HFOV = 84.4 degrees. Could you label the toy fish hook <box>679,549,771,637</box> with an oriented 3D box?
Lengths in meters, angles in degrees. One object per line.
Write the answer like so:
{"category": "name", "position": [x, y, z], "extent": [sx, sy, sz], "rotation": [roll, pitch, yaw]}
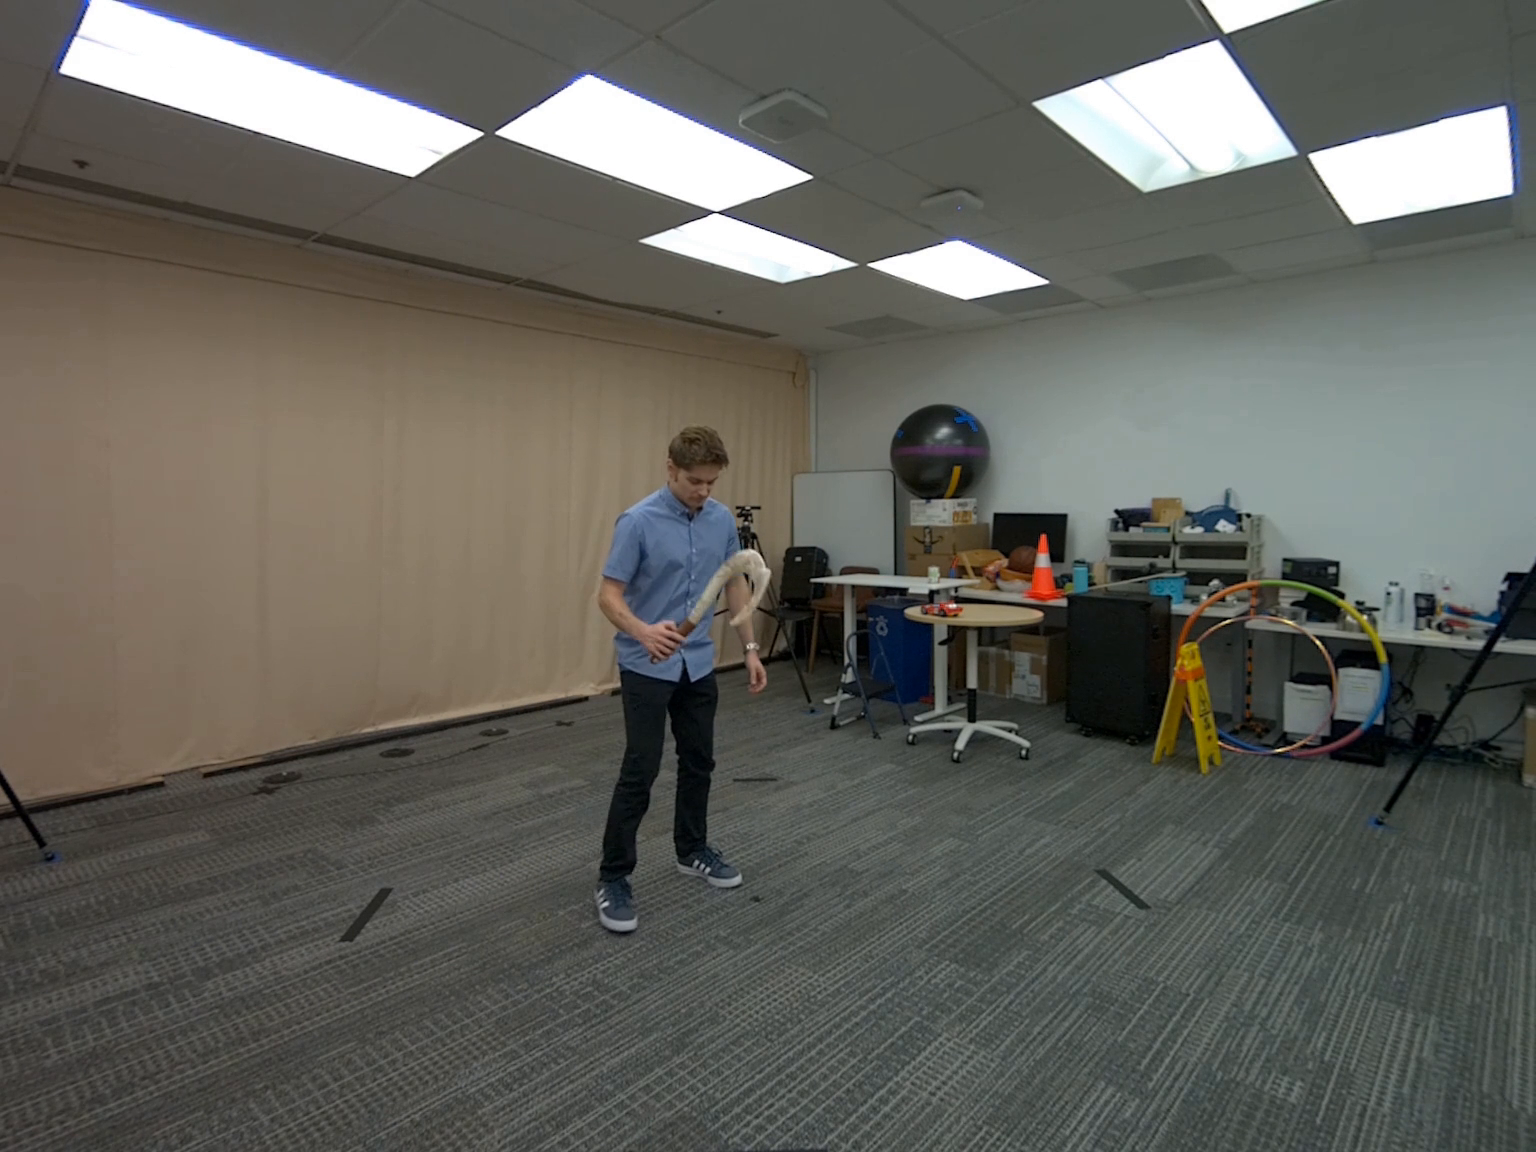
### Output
{"category": "toy fish hook", "position": [-0.186, 0.143, 2.580], "extent": [0.046, 0.509, 0.232], "rotation": [28, 24, -40]}
